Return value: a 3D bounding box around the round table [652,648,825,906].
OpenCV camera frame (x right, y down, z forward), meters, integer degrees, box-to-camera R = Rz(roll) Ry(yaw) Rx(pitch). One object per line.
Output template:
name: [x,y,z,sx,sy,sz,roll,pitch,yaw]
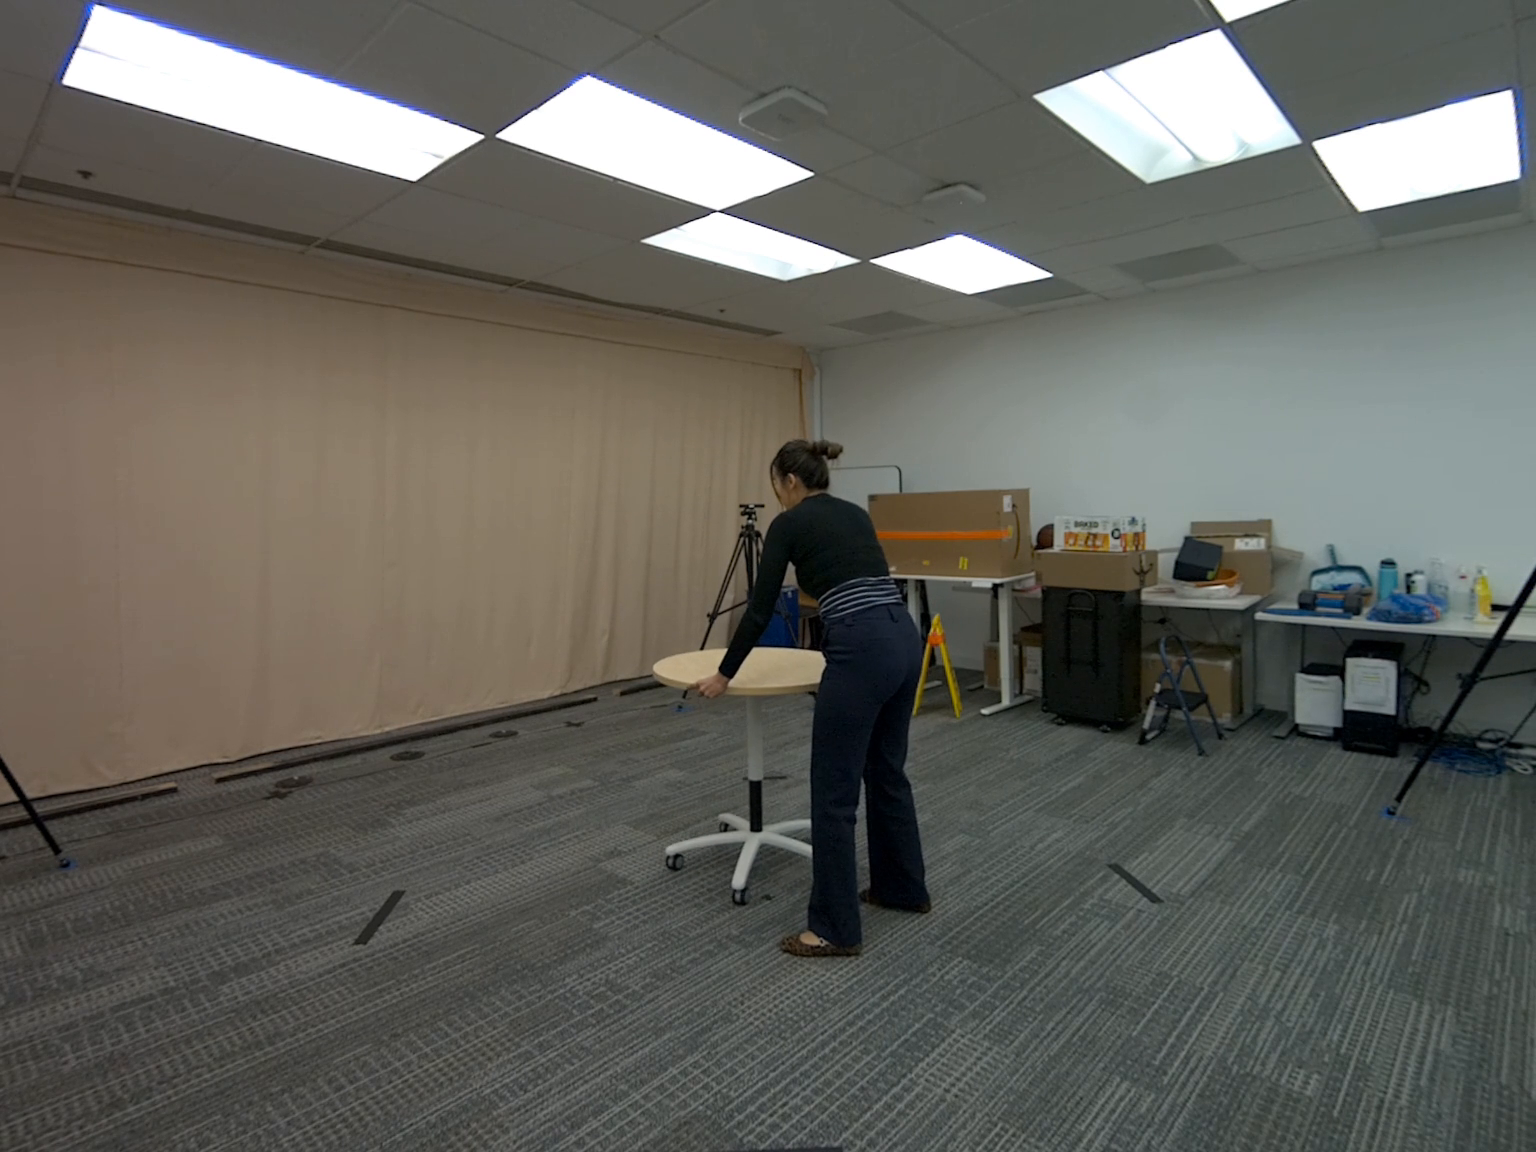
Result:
round table: [-0.043,0.731,3.217,0.763,0.792,0.767,-1,4,-2]
